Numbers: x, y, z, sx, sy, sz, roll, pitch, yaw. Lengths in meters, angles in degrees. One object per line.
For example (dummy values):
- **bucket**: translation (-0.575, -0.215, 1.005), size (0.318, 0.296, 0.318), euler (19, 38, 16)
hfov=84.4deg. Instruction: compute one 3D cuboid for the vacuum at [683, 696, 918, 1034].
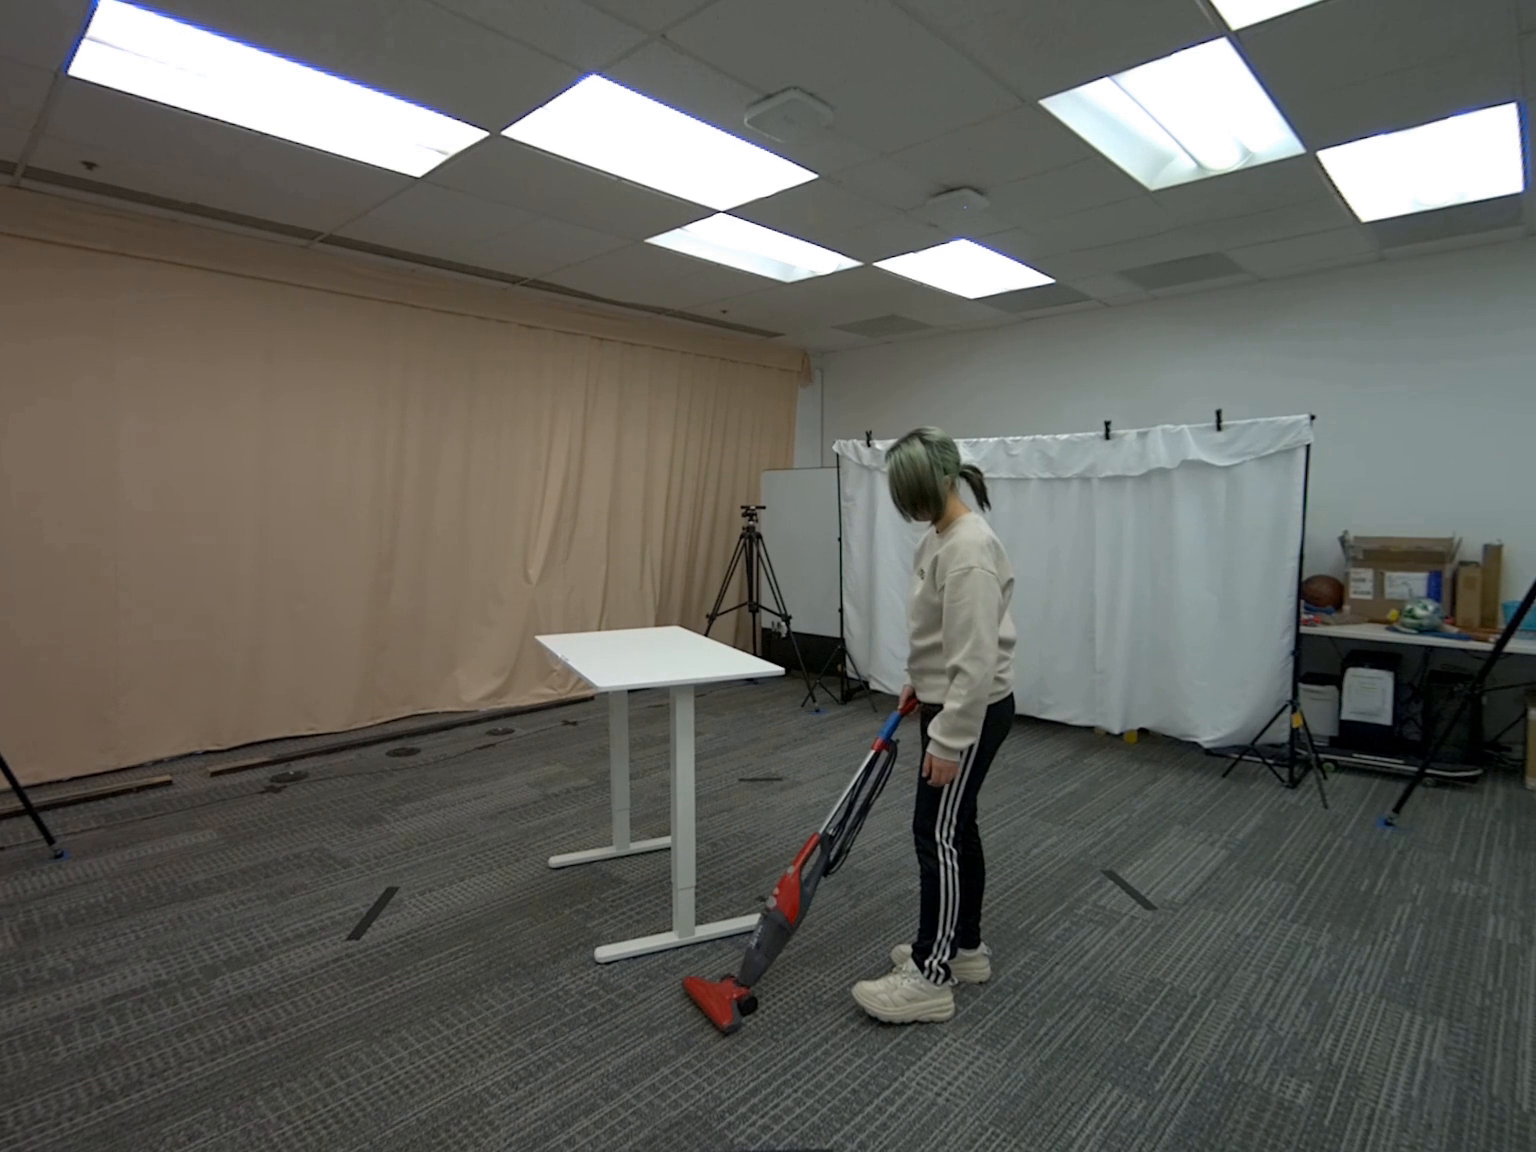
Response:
- **vacuum**: translation (0.180, 0.813, 2.466), size (0.140, 1.045, 0.260), euler (49, -17, -27)
